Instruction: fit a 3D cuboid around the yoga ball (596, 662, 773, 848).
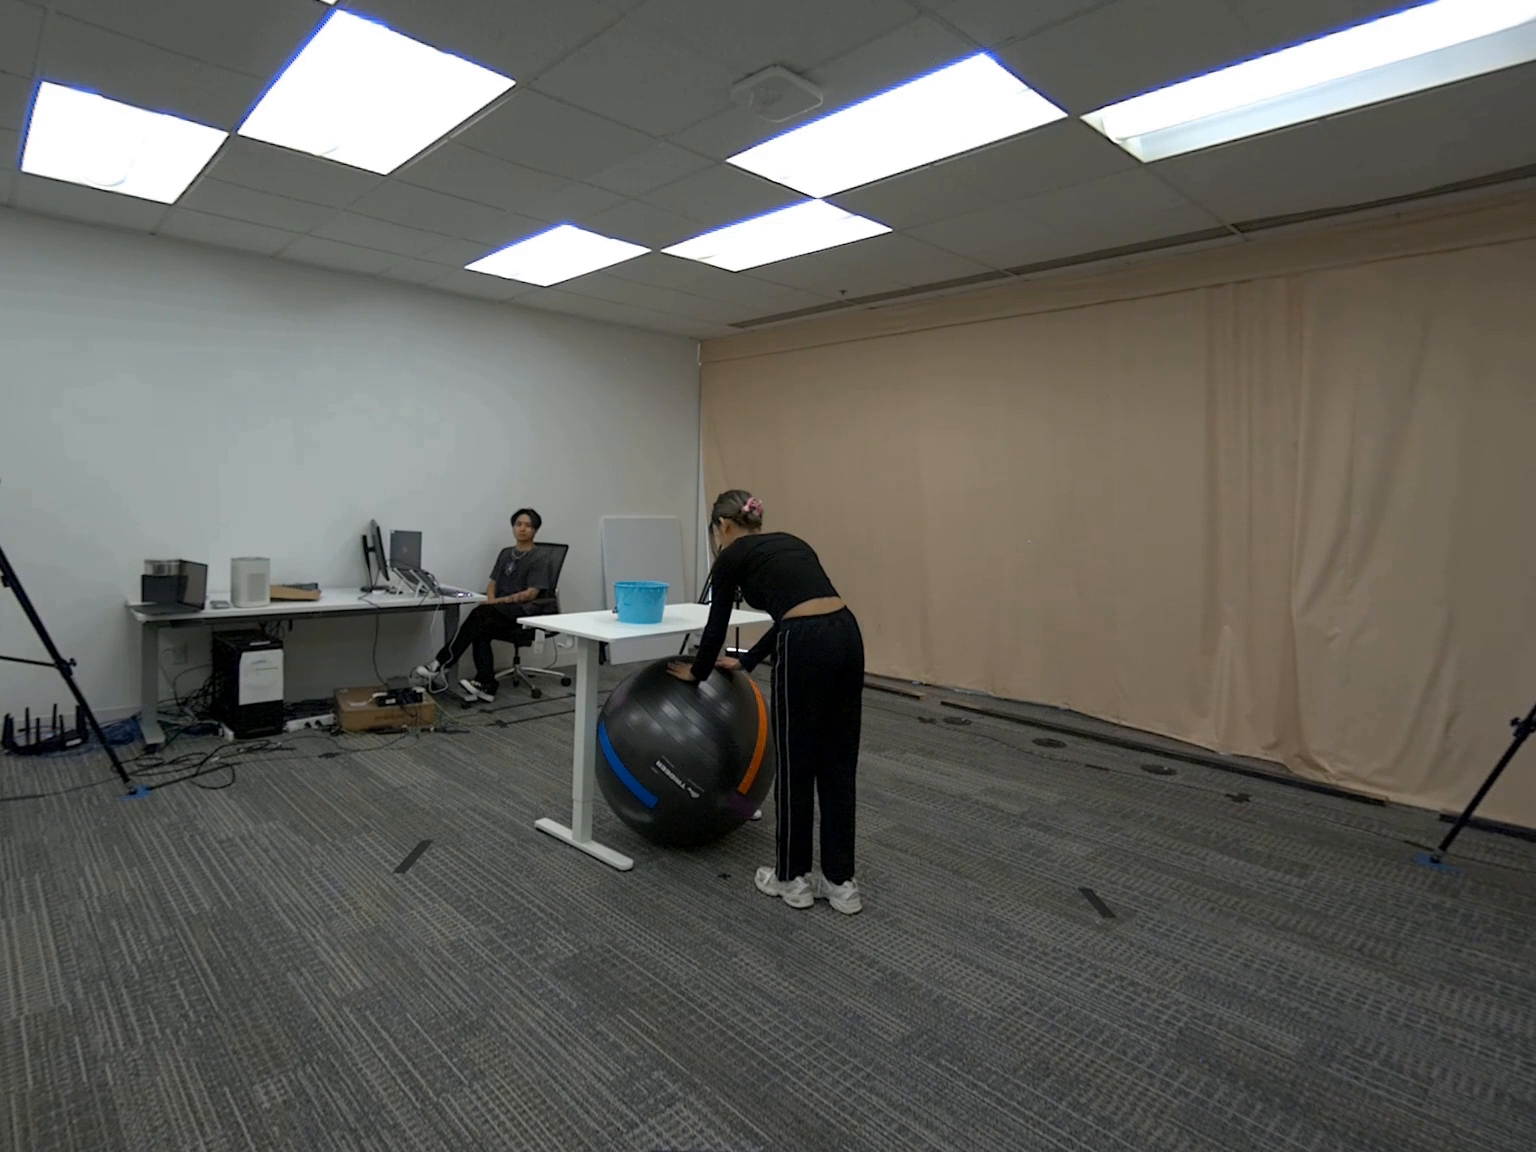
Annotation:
[{"bbox_3d":[-0.333,0.705,3.448,0.757,0.756,0.760,1,4,-1],"label":"yoga ball"}]
